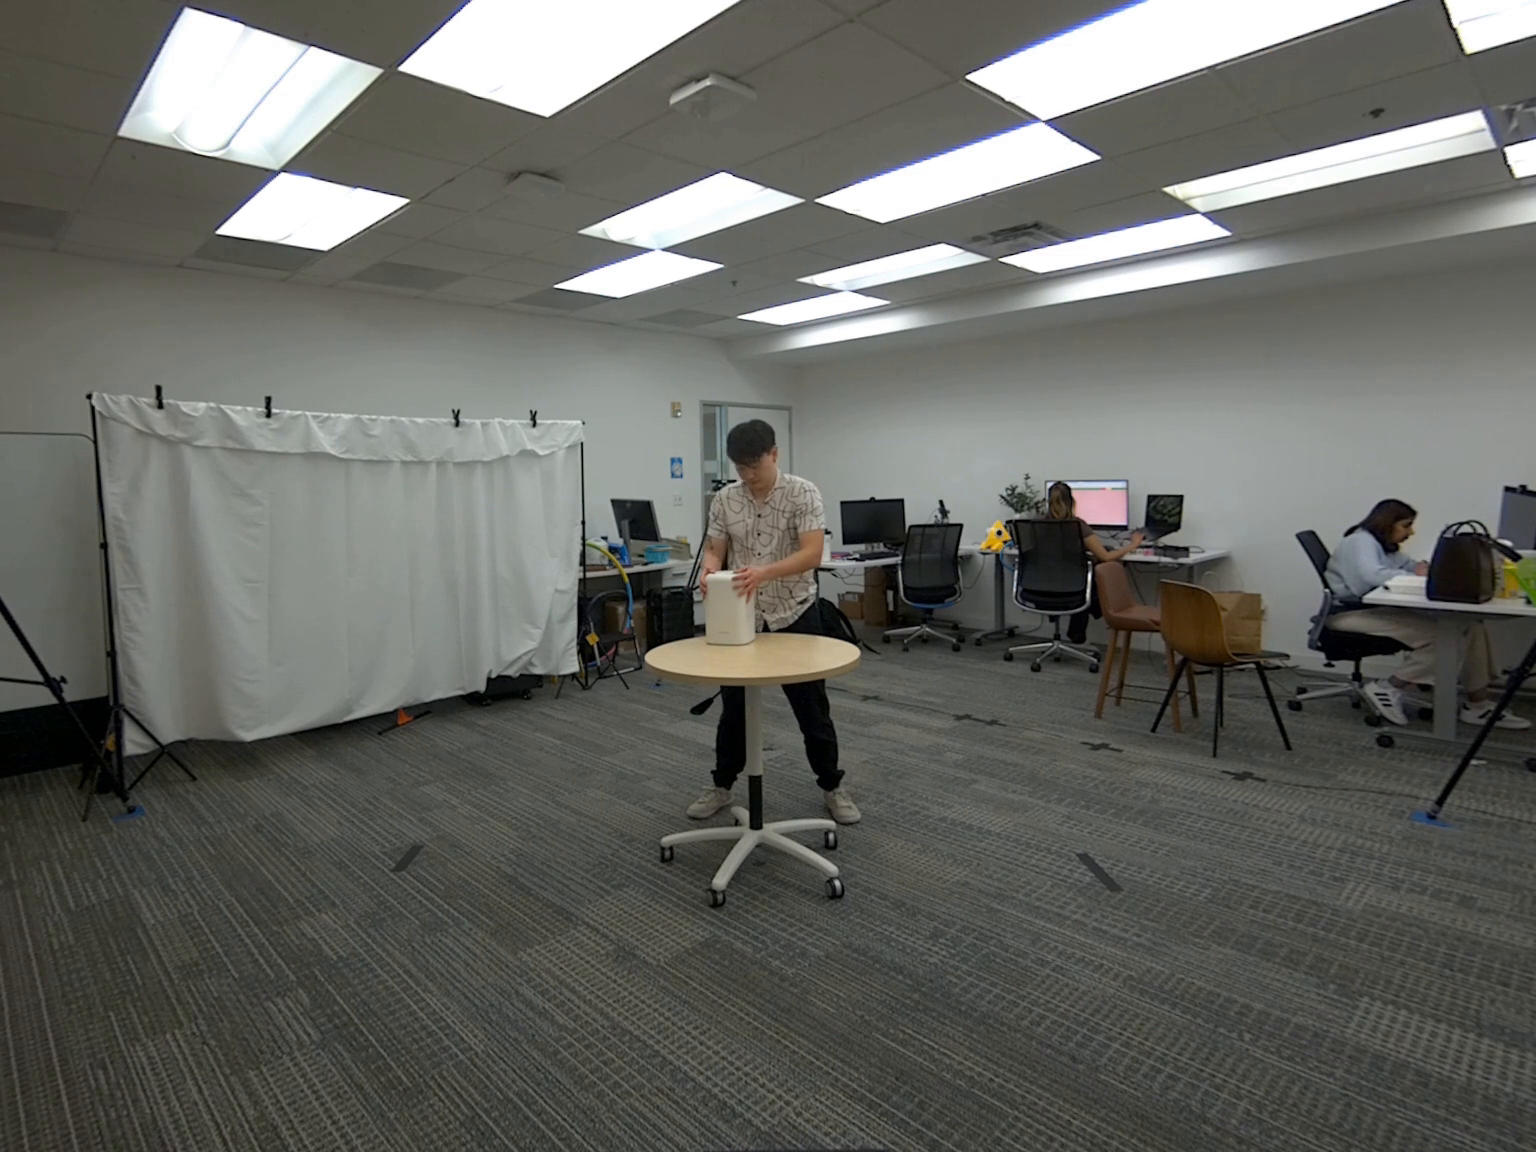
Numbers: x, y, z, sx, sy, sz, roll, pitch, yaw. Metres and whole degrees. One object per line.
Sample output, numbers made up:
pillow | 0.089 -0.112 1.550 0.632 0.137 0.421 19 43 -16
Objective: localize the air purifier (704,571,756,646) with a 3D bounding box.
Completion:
air purifier | -0.149 0.123 3.269 0.174 0.264 0.169 -1 5 17
